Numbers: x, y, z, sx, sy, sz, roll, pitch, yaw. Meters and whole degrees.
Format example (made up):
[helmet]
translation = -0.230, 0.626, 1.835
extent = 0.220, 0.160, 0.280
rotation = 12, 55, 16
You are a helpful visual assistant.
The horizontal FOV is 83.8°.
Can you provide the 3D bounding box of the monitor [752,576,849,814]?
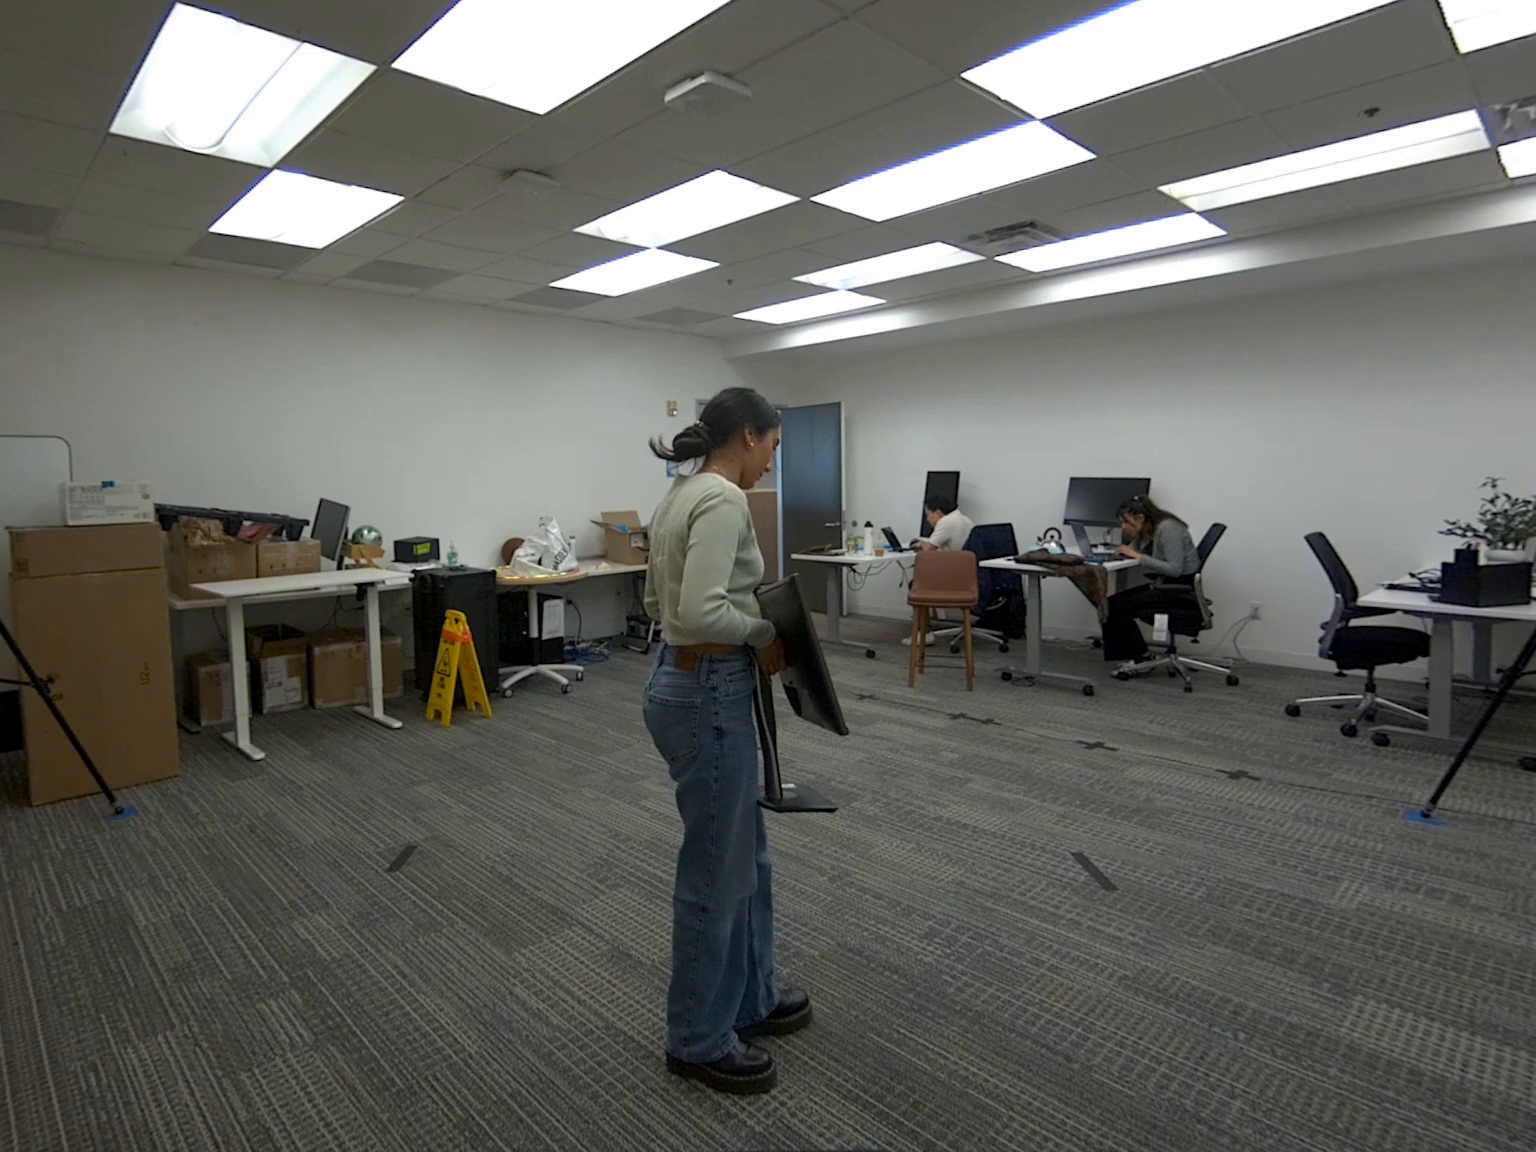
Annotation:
[monitor]
translation = 0.056, 0.269, 2.043
extent = 0.173, 0.520, 0.529
rotation = 2, -9, -9
